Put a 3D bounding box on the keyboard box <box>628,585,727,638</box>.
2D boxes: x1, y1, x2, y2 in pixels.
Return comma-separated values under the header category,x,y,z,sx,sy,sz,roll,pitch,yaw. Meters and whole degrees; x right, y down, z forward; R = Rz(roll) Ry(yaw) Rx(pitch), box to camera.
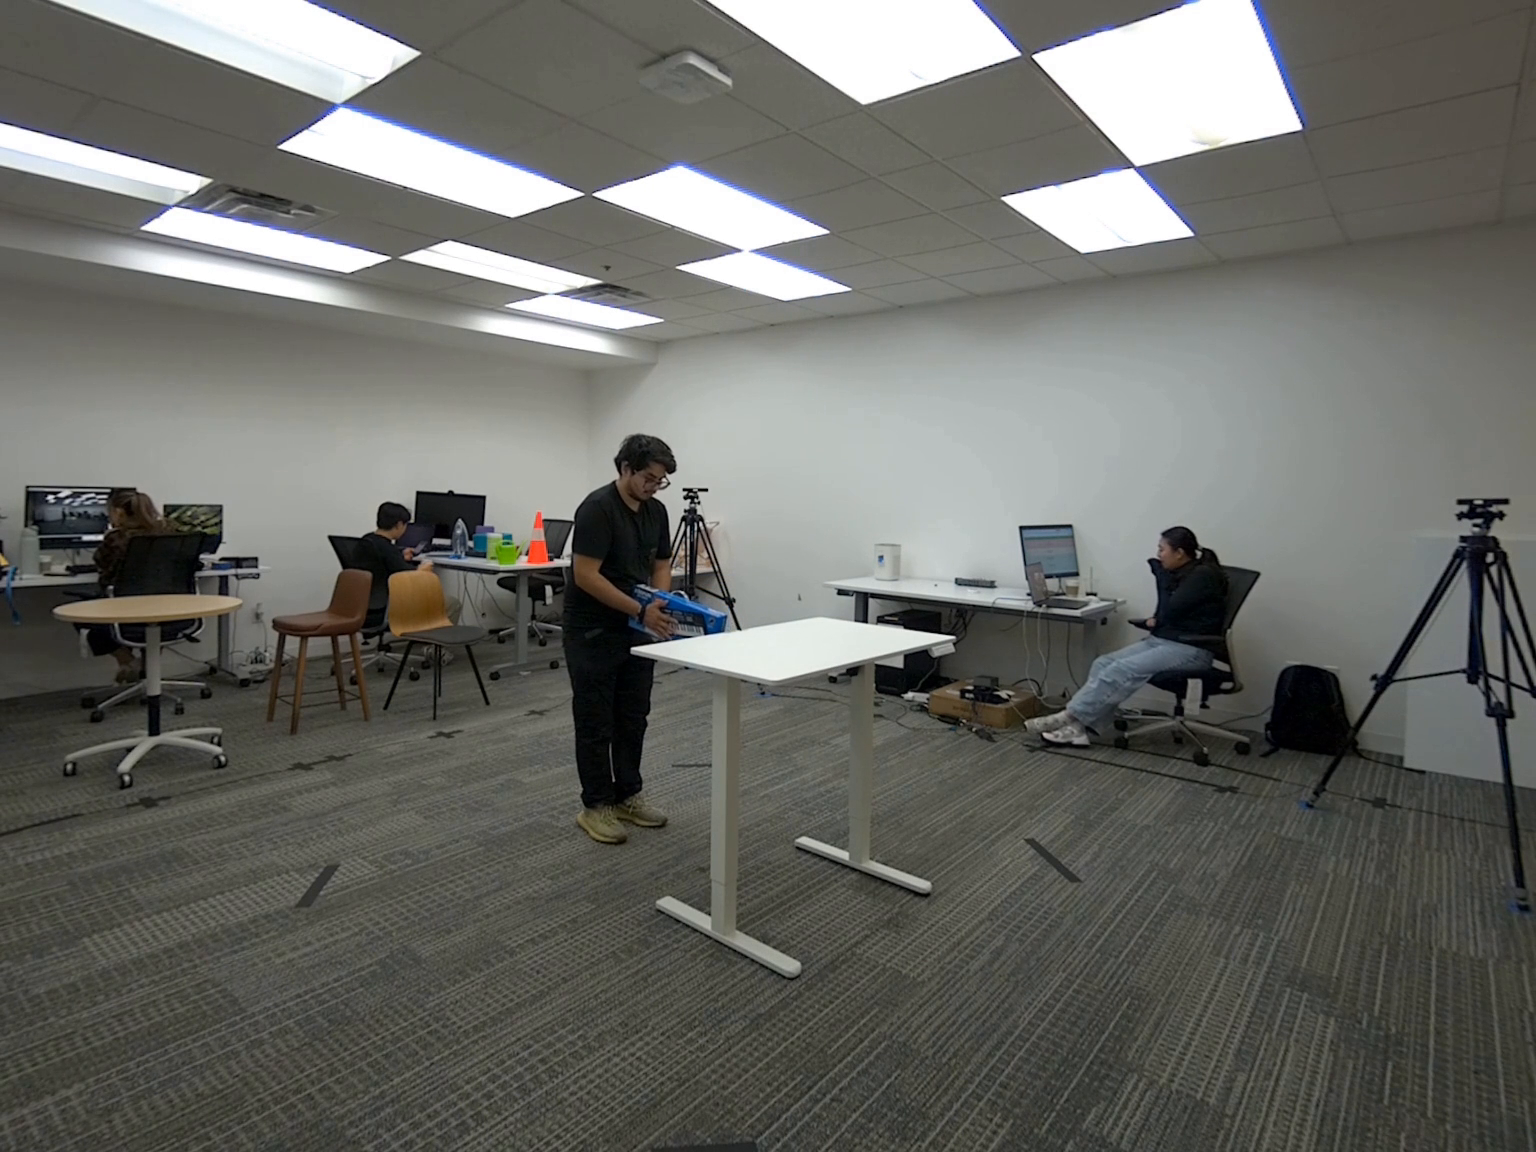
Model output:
category,x,y,z,sx,sy,sz,roll,pitch,yaw
keyboard box,-0.359,0.174,3.271,0.453,0.174,0.057,18,15,35
